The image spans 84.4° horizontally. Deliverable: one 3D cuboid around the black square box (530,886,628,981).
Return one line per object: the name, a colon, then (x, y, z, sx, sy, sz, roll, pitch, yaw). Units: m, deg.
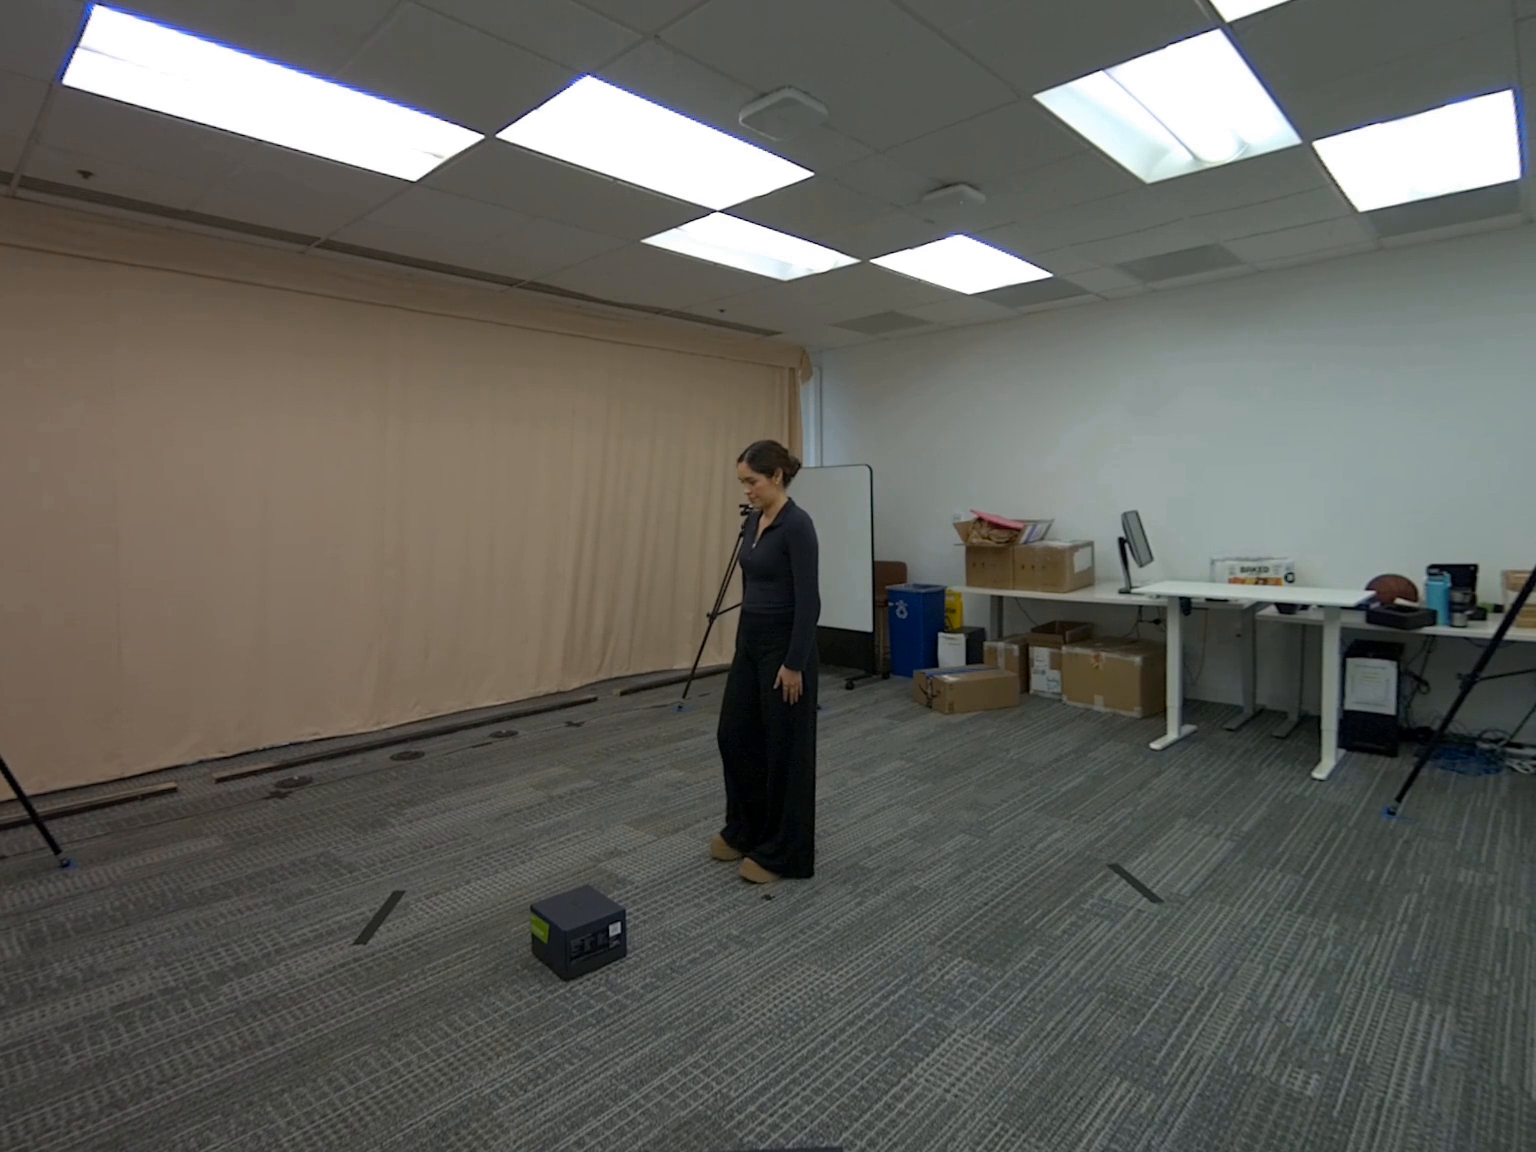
black square box: (-0.590, 1.101, 2.619, 0.210, 0.155, 0.235, -5, 6, -41)
